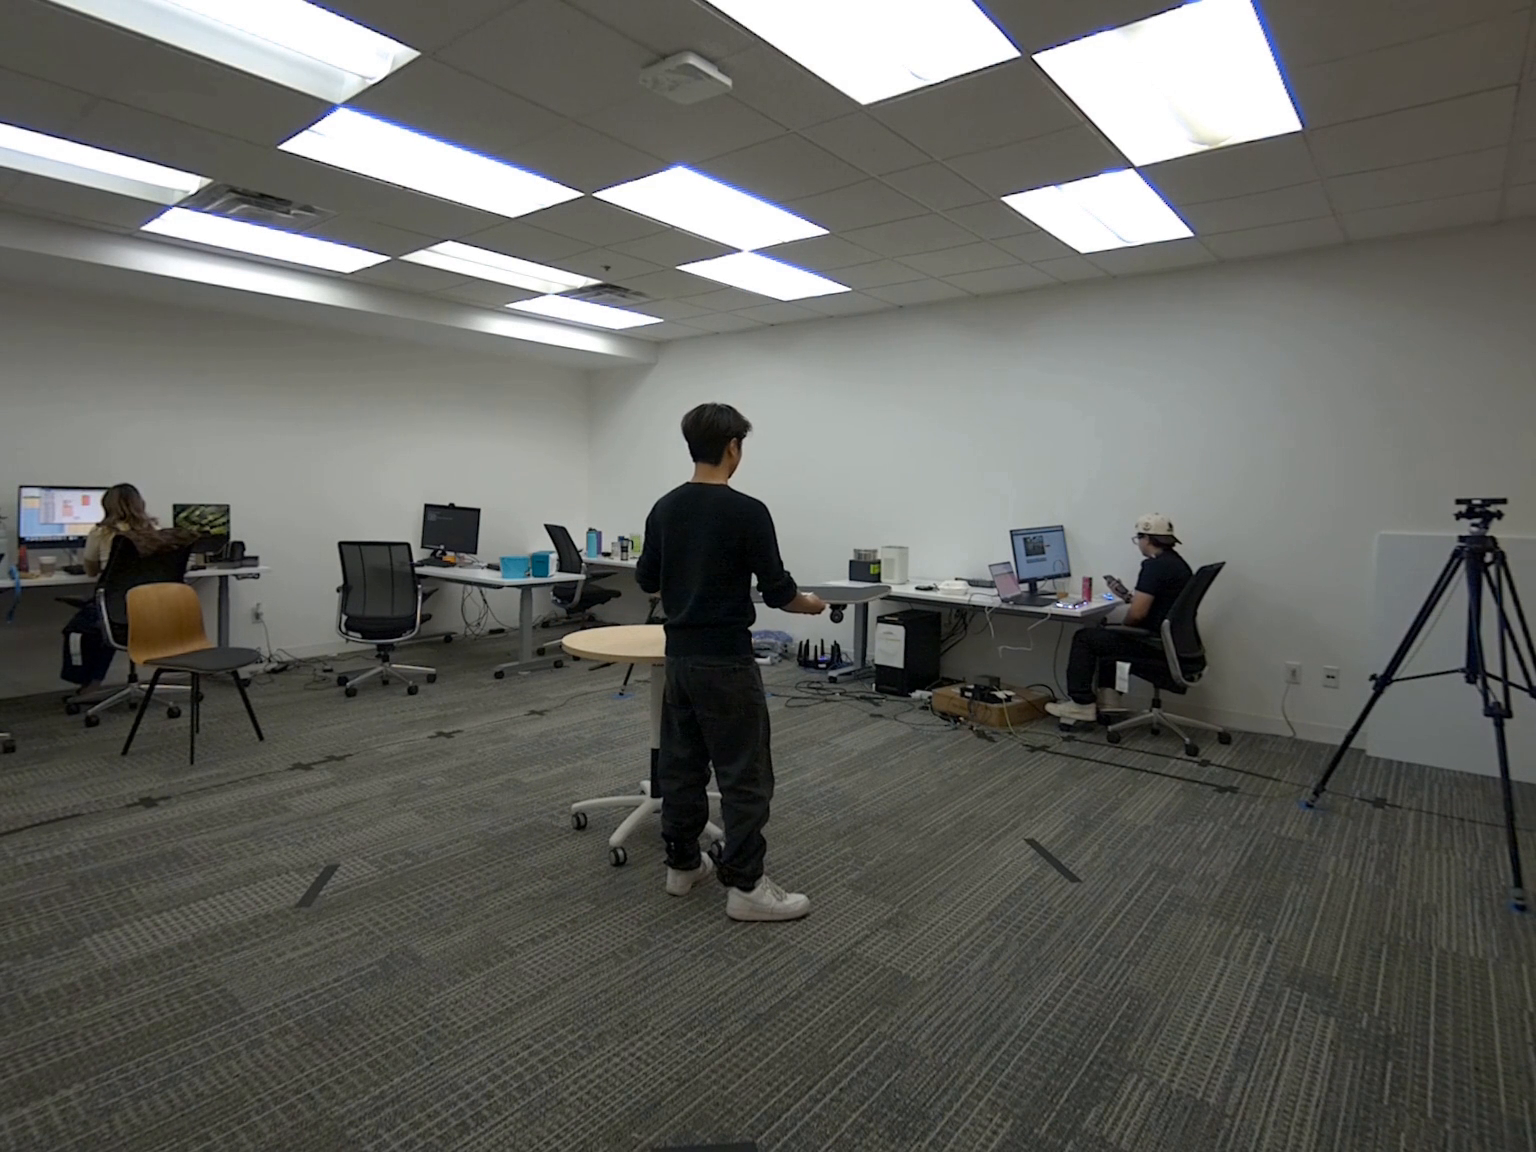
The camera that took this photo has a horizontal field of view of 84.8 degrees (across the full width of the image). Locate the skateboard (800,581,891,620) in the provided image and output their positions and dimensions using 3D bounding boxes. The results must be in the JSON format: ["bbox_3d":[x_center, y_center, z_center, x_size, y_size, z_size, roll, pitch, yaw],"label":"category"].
[{"bbox_3d":[0.061,0.105,3.222,0.798,0.109,0.193,-1,15,15],"label":"skateboard"}]
